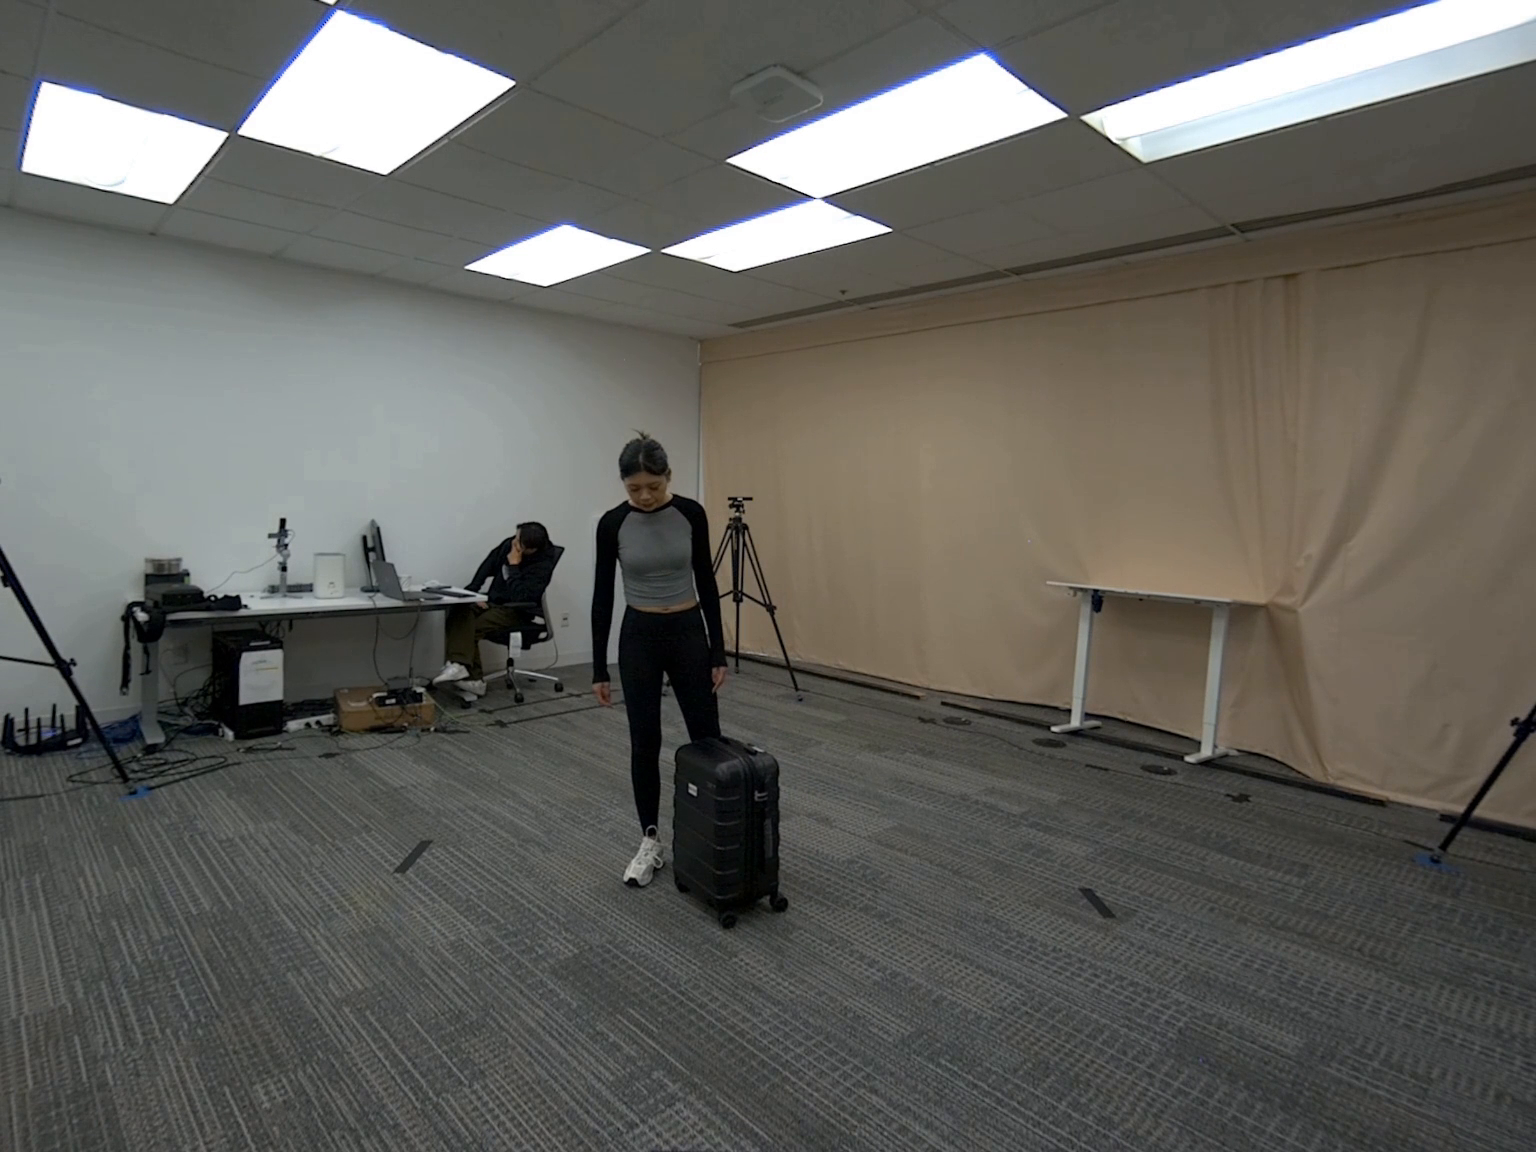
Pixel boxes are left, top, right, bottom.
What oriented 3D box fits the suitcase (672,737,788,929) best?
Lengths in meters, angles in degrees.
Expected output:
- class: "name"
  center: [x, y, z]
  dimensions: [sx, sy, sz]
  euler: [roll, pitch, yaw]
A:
- class: "suitcase"
  center: [-0.148, 0.853, 2.885]
  dimensions: [0.243, 0.548, 0.384]
  euler: [-3, 5, -34]
